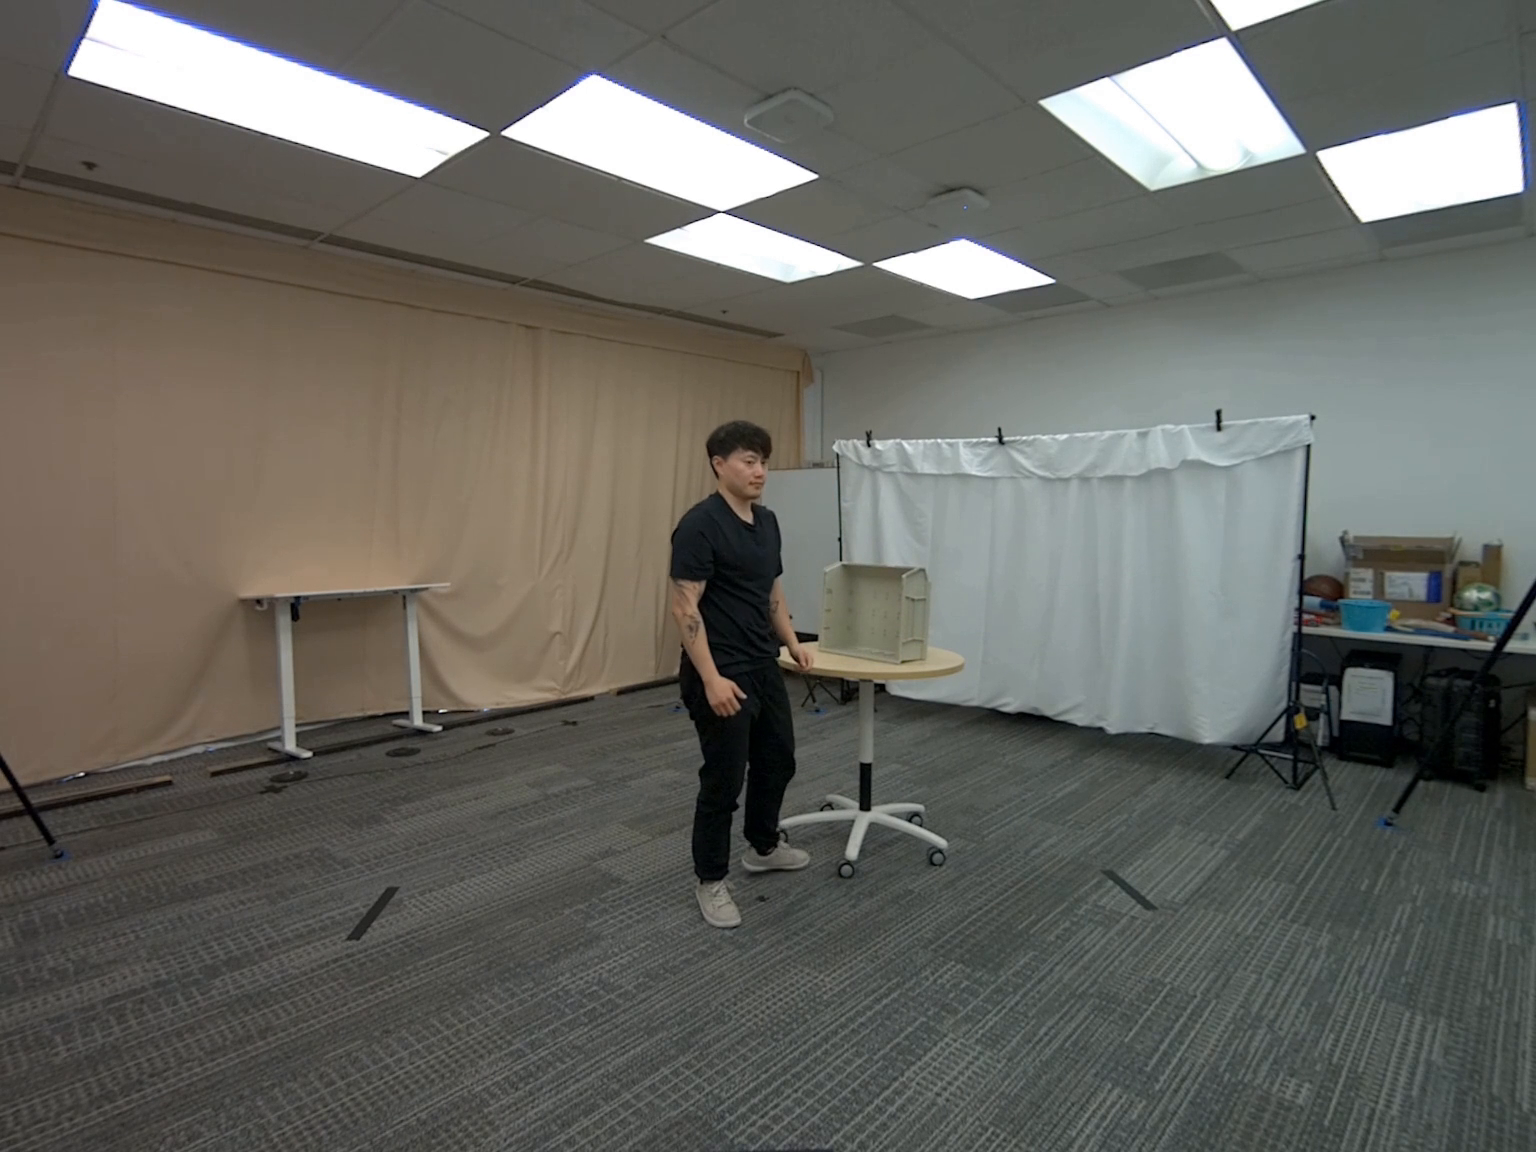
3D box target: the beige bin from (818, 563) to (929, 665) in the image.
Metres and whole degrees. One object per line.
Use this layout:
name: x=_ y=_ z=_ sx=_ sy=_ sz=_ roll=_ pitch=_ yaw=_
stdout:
beige bin: x=0.433 y=0.141 z=3.430 sx=0.183 sy=0.377 sz=0.436 roll=4 pitch=0 yaw=-43
